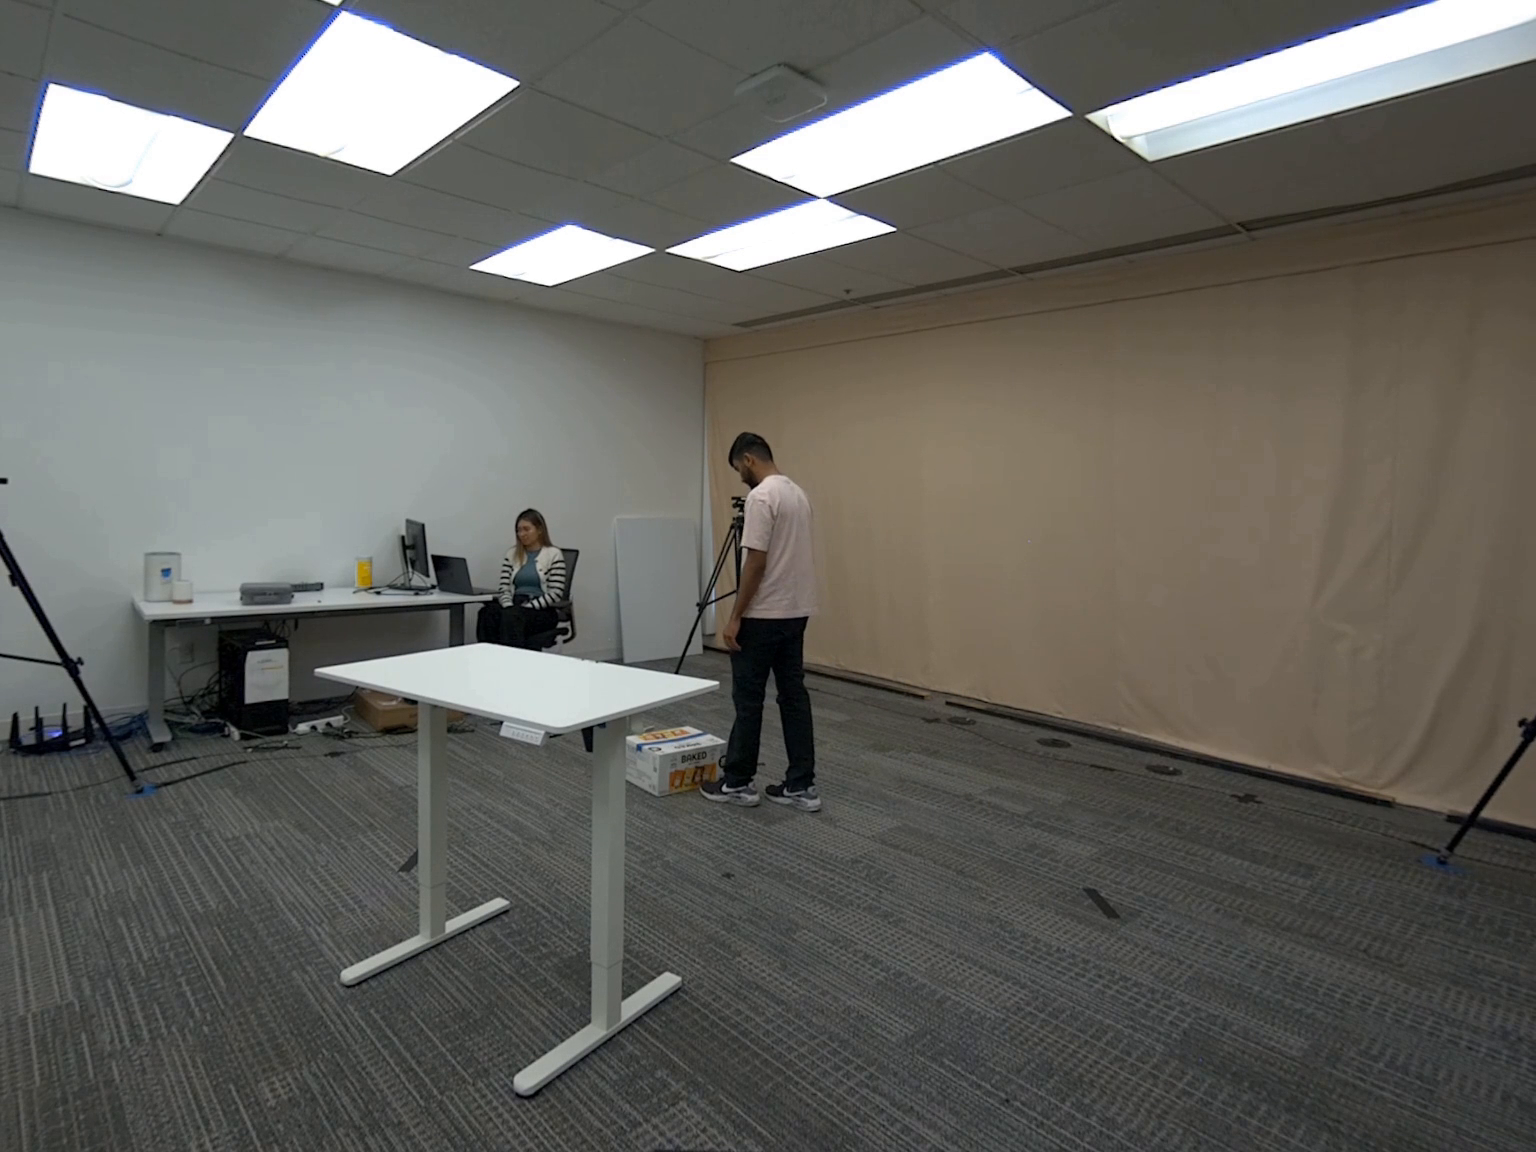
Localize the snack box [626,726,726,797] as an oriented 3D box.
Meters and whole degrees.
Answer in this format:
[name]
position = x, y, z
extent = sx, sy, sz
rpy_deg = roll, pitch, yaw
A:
[snack box]
position = -0.474, 0.907, 4.153
extent = 0.396, 0.205, 0.349
rpy_deg = -2, 5, -39
